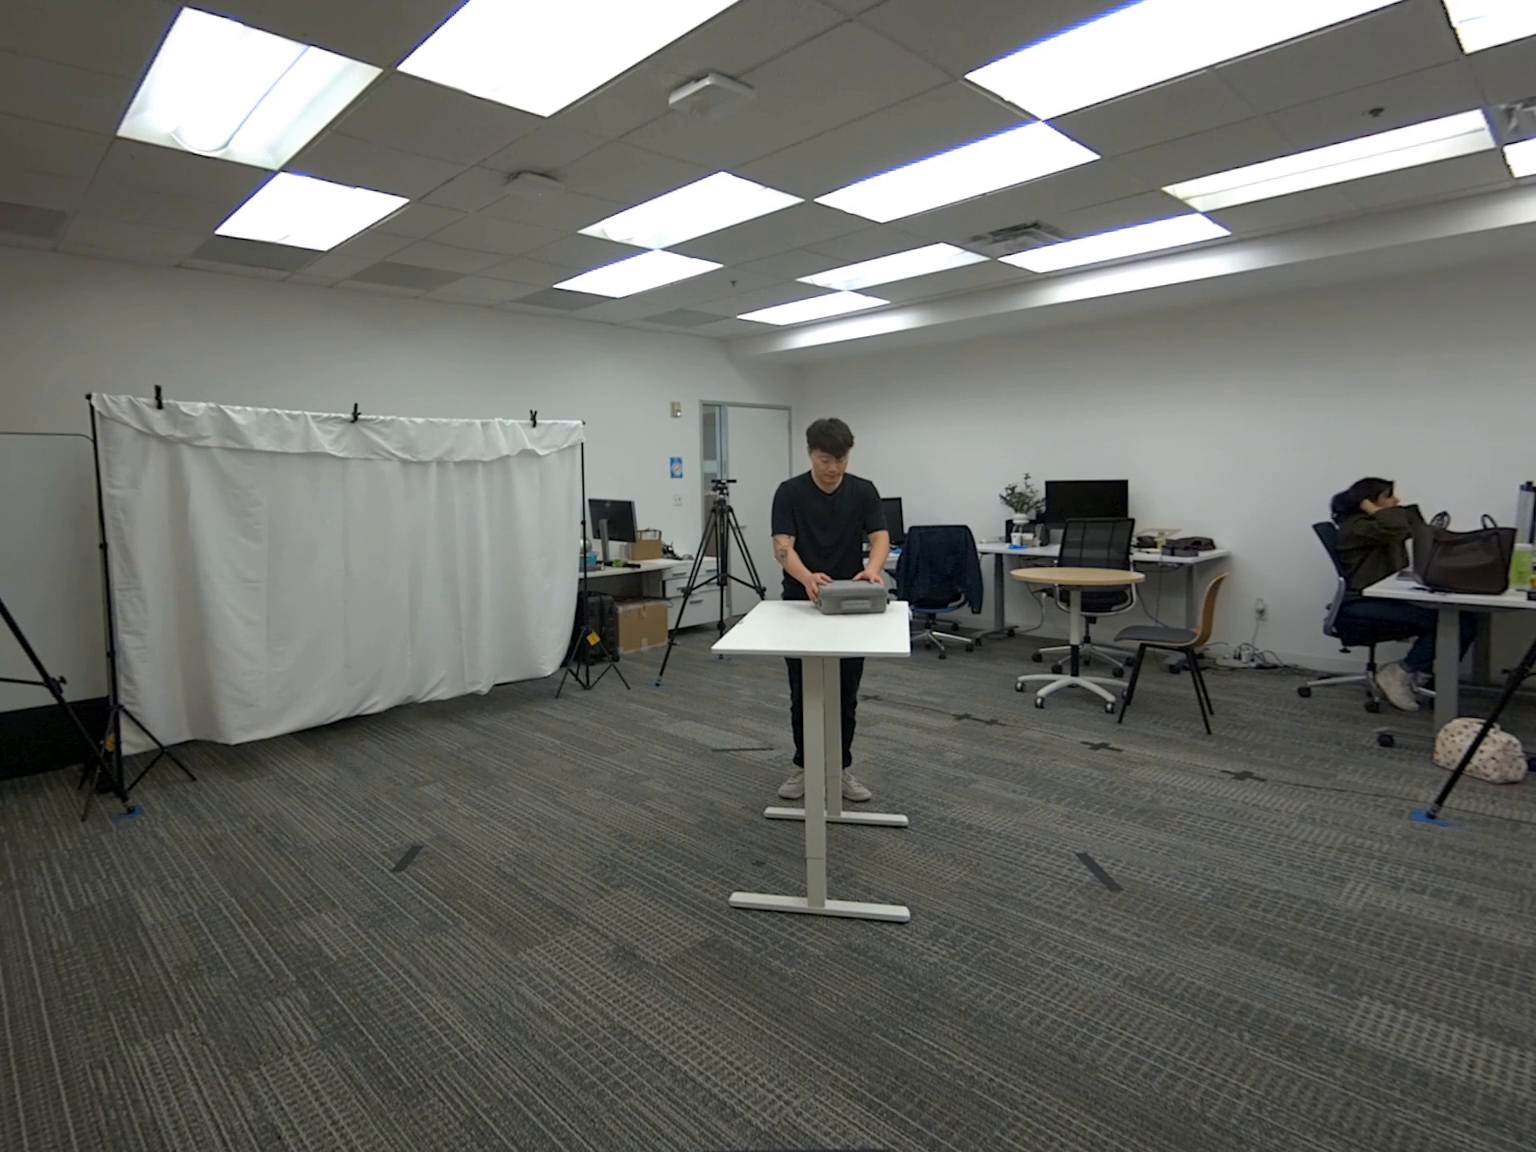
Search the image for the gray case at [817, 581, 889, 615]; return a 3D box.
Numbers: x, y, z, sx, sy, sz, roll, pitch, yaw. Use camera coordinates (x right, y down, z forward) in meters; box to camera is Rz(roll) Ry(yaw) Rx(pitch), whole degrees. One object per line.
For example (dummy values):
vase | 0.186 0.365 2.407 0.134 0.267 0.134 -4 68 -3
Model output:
gray case | 0.323 0.085 3.317 0.256 0.104 0.262 -1 5 -2
